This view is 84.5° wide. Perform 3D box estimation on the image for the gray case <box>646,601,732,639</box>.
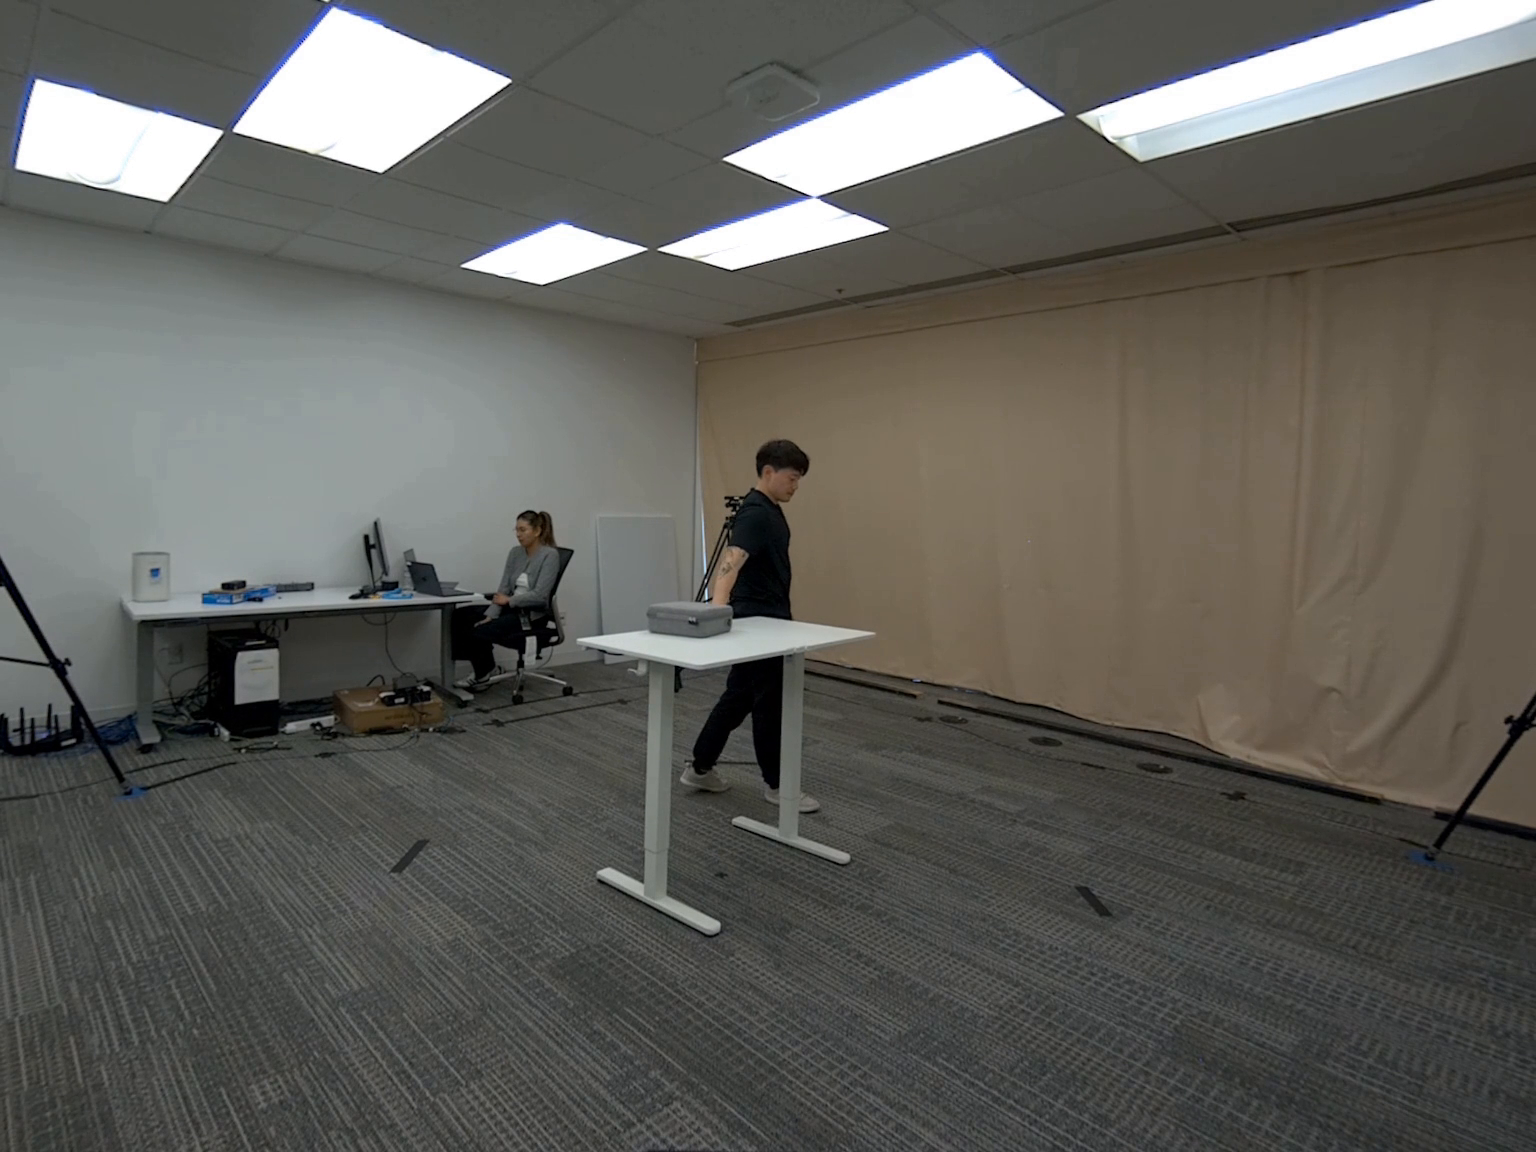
[{"bbox_3d":[-0.304,0.159,3.169,0.262,0.104,0.256,2,3,27],"label":"gray case"}]
